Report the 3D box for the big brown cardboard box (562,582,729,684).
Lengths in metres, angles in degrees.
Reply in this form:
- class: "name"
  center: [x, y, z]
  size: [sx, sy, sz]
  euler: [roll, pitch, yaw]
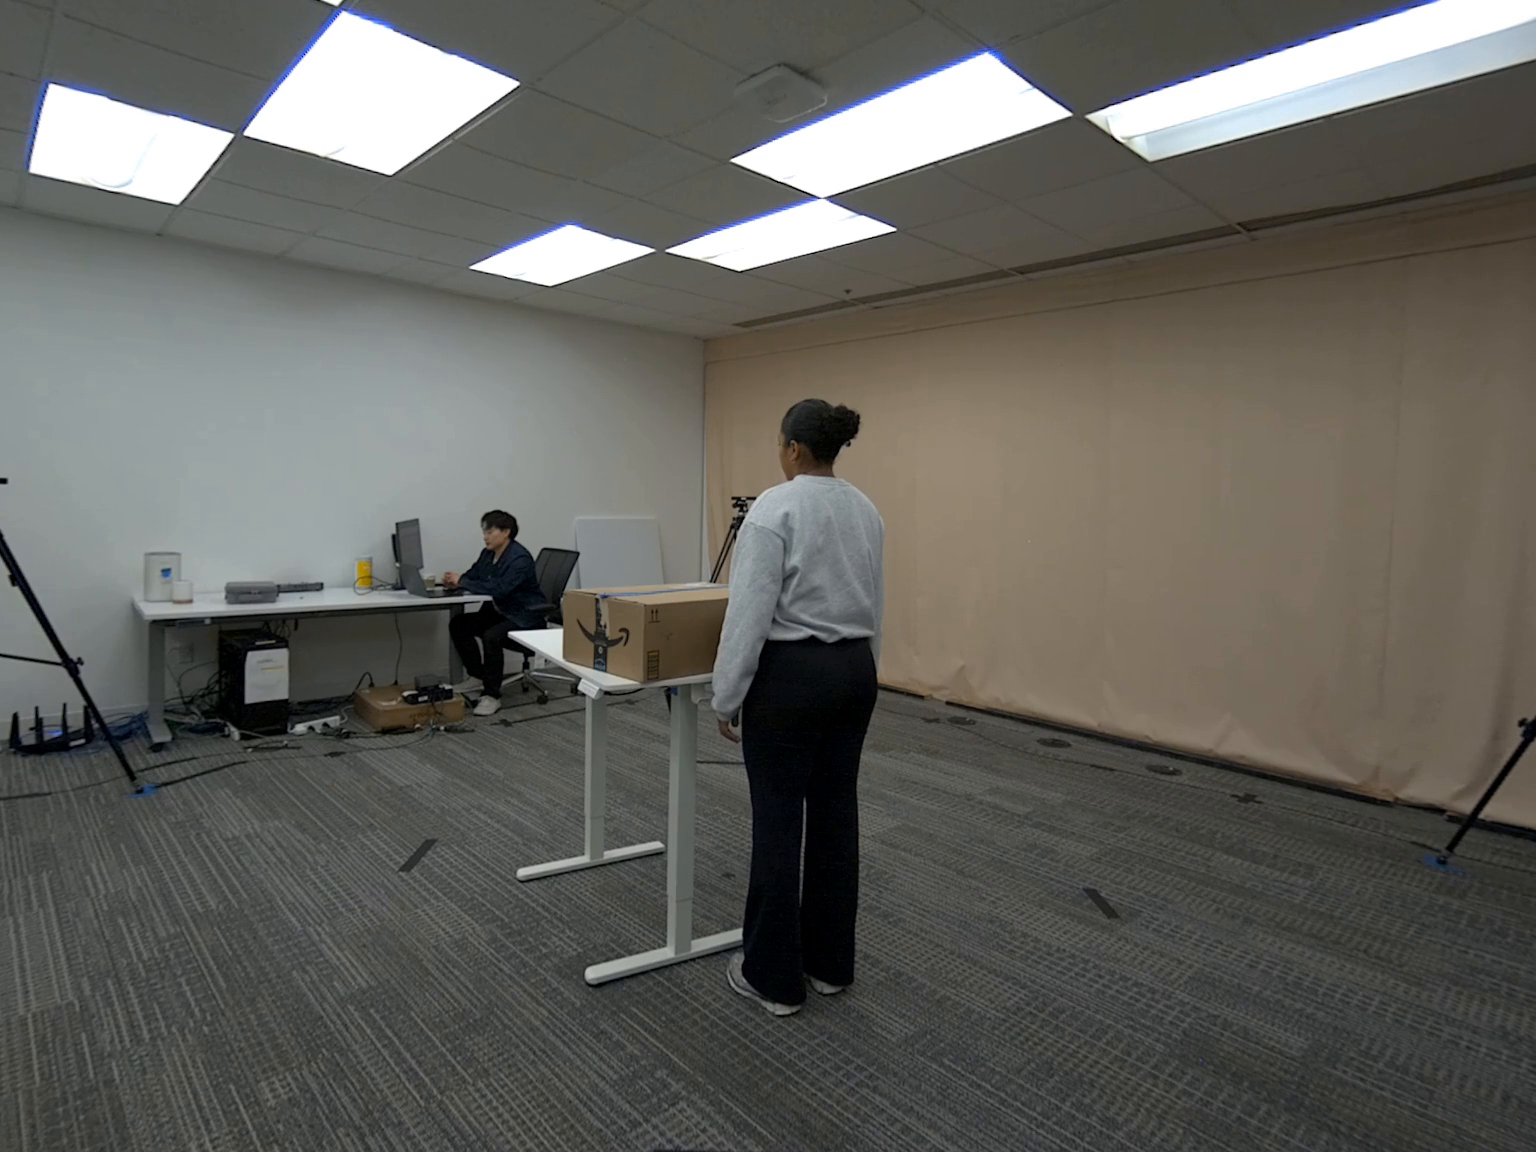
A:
- class: "big brown cardboard box"
  center: [-0.277, 0.158, 2.603]
  size: [0.576, 0.232, 0.428]
  euler: [-5, 7, -44]
